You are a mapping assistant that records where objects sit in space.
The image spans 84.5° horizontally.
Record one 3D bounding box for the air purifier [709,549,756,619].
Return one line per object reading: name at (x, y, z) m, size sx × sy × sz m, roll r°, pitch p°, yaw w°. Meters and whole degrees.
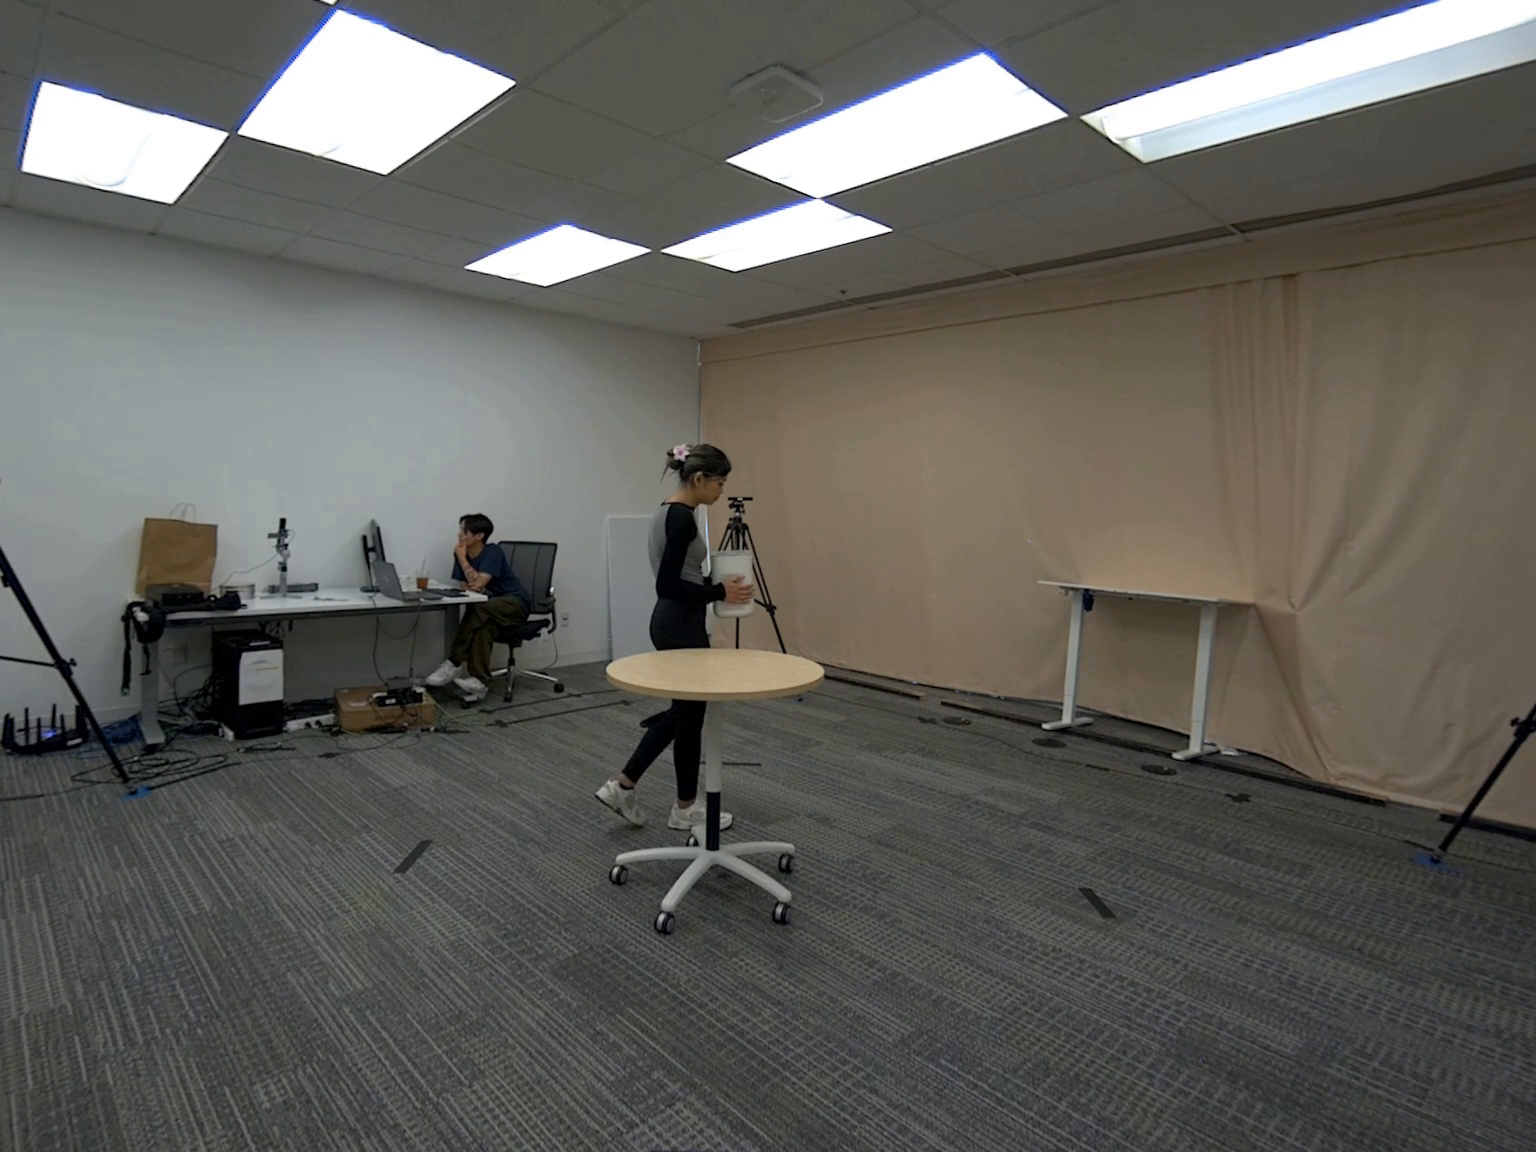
air purifier at (-0.160, 0.034, 3.511) m, size 0.172 × 0.264 × 0.171 m, roll -3°, pitch 5°, yaw 2°
